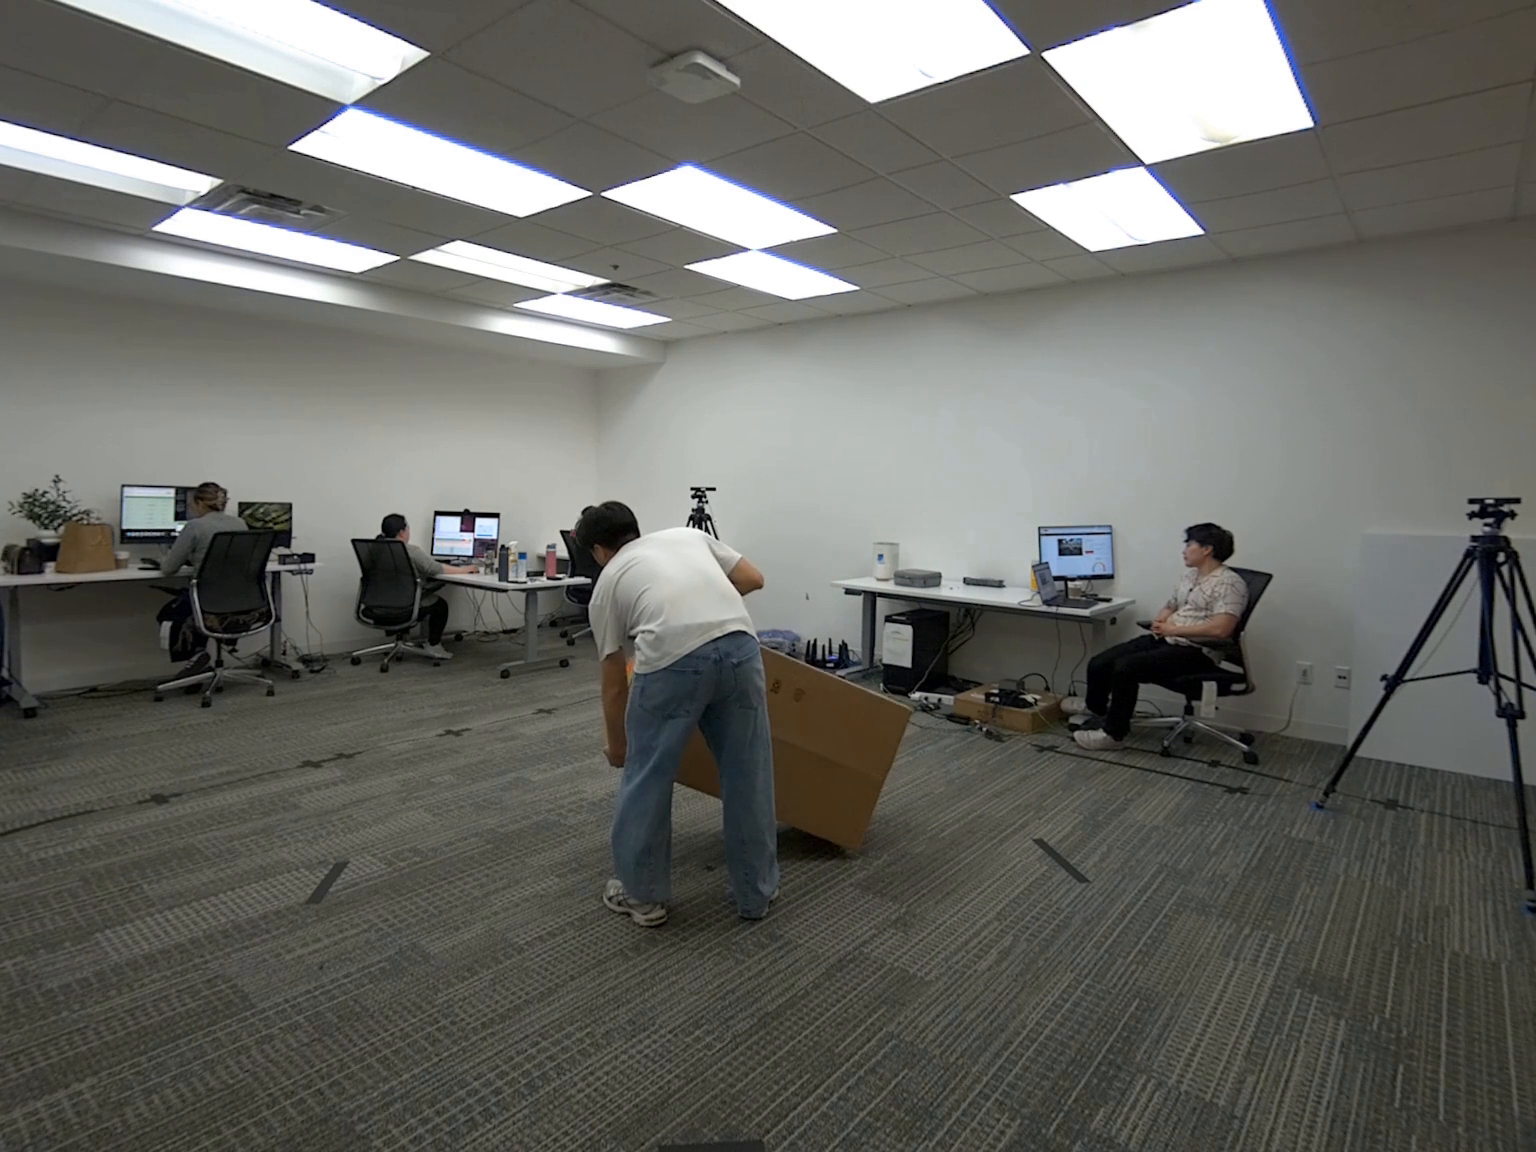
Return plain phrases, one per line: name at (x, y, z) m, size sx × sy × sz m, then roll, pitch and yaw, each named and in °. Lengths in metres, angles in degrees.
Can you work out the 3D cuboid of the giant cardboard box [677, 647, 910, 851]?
giant cardboard box at (-0.074, 0.563, 3.354) m, size 1.009 × 0.579 × 0.432 m, roll 24°, pitch -6°, yaw -13°
